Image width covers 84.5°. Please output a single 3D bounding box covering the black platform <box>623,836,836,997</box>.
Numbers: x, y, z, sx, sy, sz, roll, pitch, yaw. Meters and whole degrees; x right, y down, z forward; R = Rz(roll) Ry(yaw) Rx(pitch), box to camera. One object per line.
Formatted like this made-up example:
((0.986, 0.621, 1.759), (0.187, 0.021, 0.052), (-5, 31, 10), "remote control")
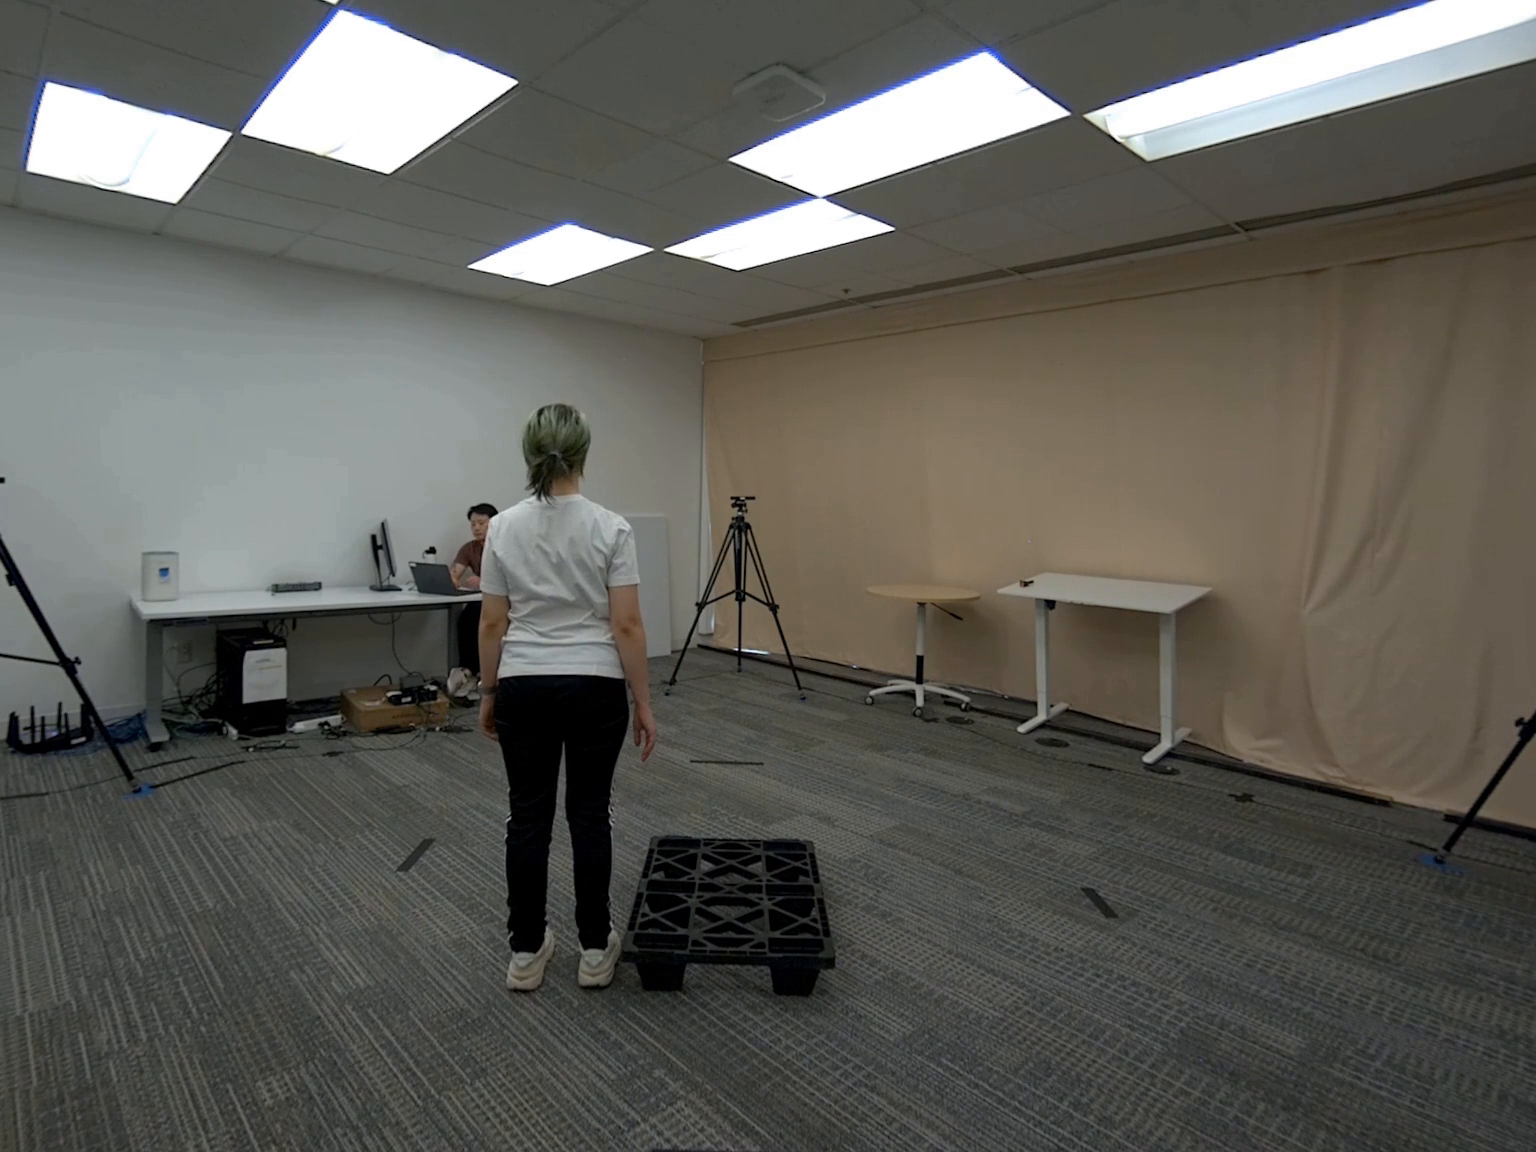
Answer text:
((-0.125, 1.072, 2.724), (0.605, 0.143, 0.808), (2, 5, -1), "black platform")
